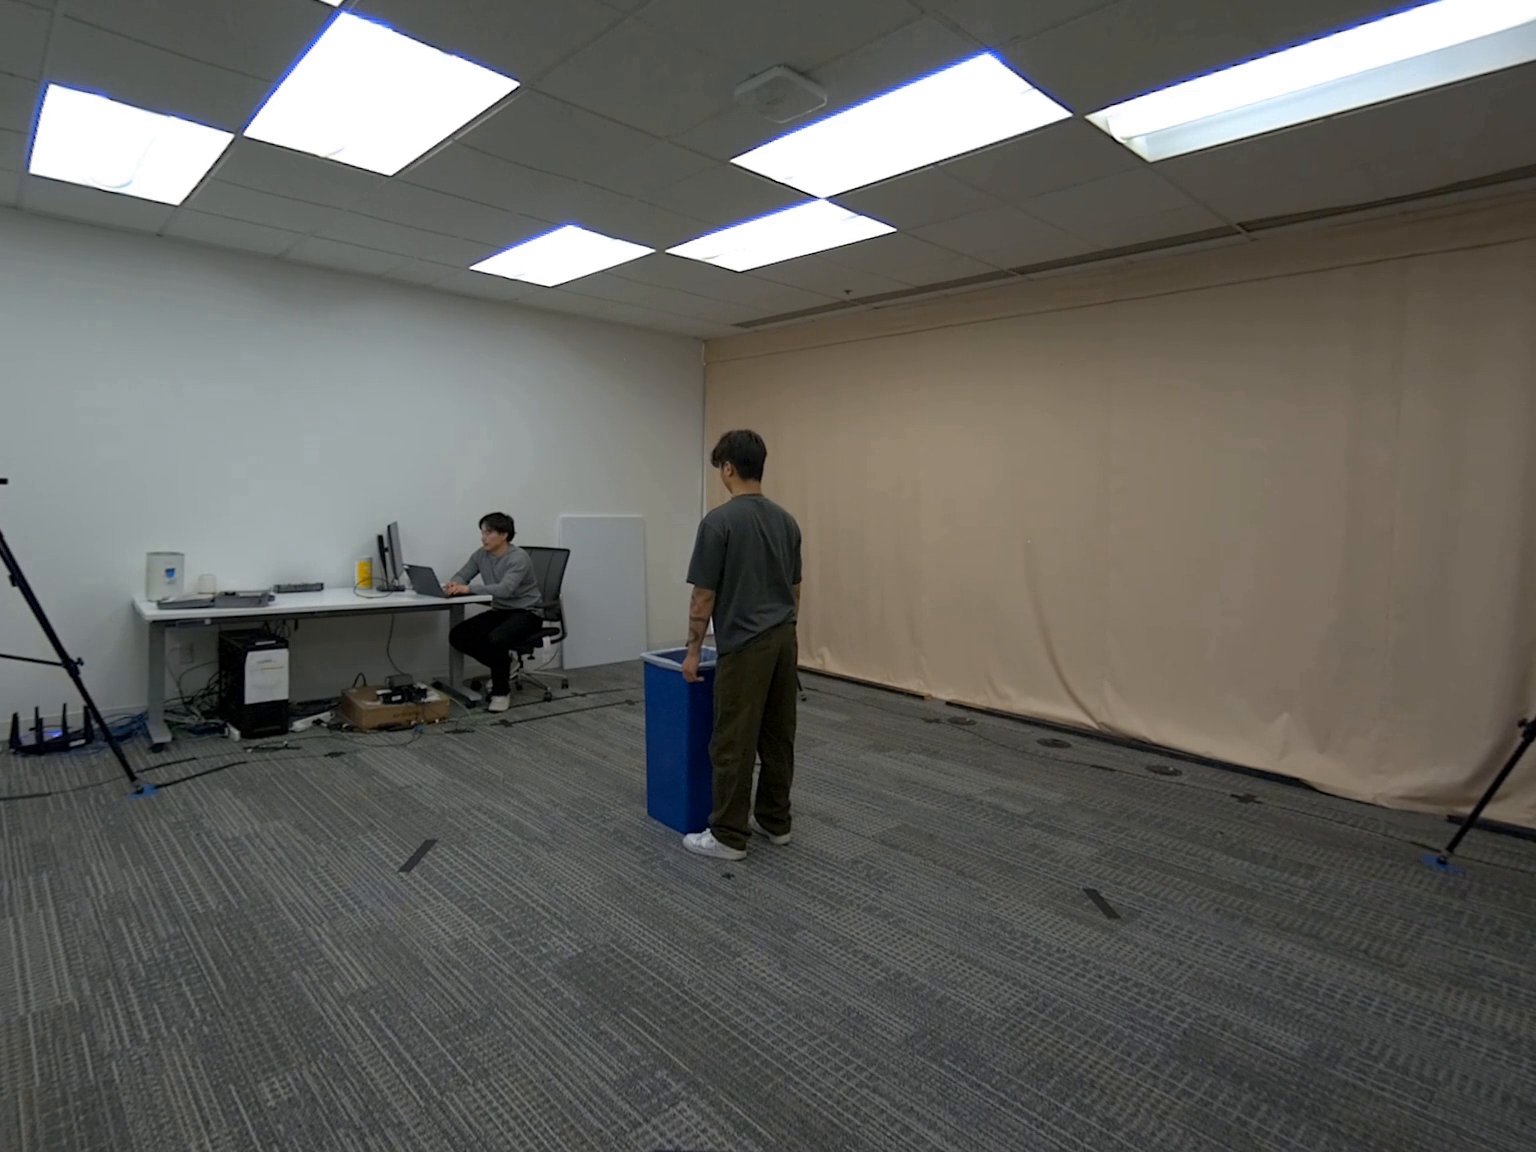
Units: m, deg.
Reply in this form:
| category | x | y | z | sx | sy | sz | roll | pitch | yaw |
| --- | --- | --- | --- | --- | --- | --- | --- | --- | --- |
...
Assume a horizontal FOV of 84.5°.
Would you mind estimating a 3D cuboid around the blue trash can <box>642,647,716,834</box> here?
| category | x | y | z | sx | sy | sz | roll | pitch | yaw |
| --- | --- | --- | --- | --- | --- | --- | --- | --- | --- |
| blue trash can | -0.325 | 0.696 | 3.649 | 0.365 | 0.712 | 0.387 | -1 | 4 | -41 |
